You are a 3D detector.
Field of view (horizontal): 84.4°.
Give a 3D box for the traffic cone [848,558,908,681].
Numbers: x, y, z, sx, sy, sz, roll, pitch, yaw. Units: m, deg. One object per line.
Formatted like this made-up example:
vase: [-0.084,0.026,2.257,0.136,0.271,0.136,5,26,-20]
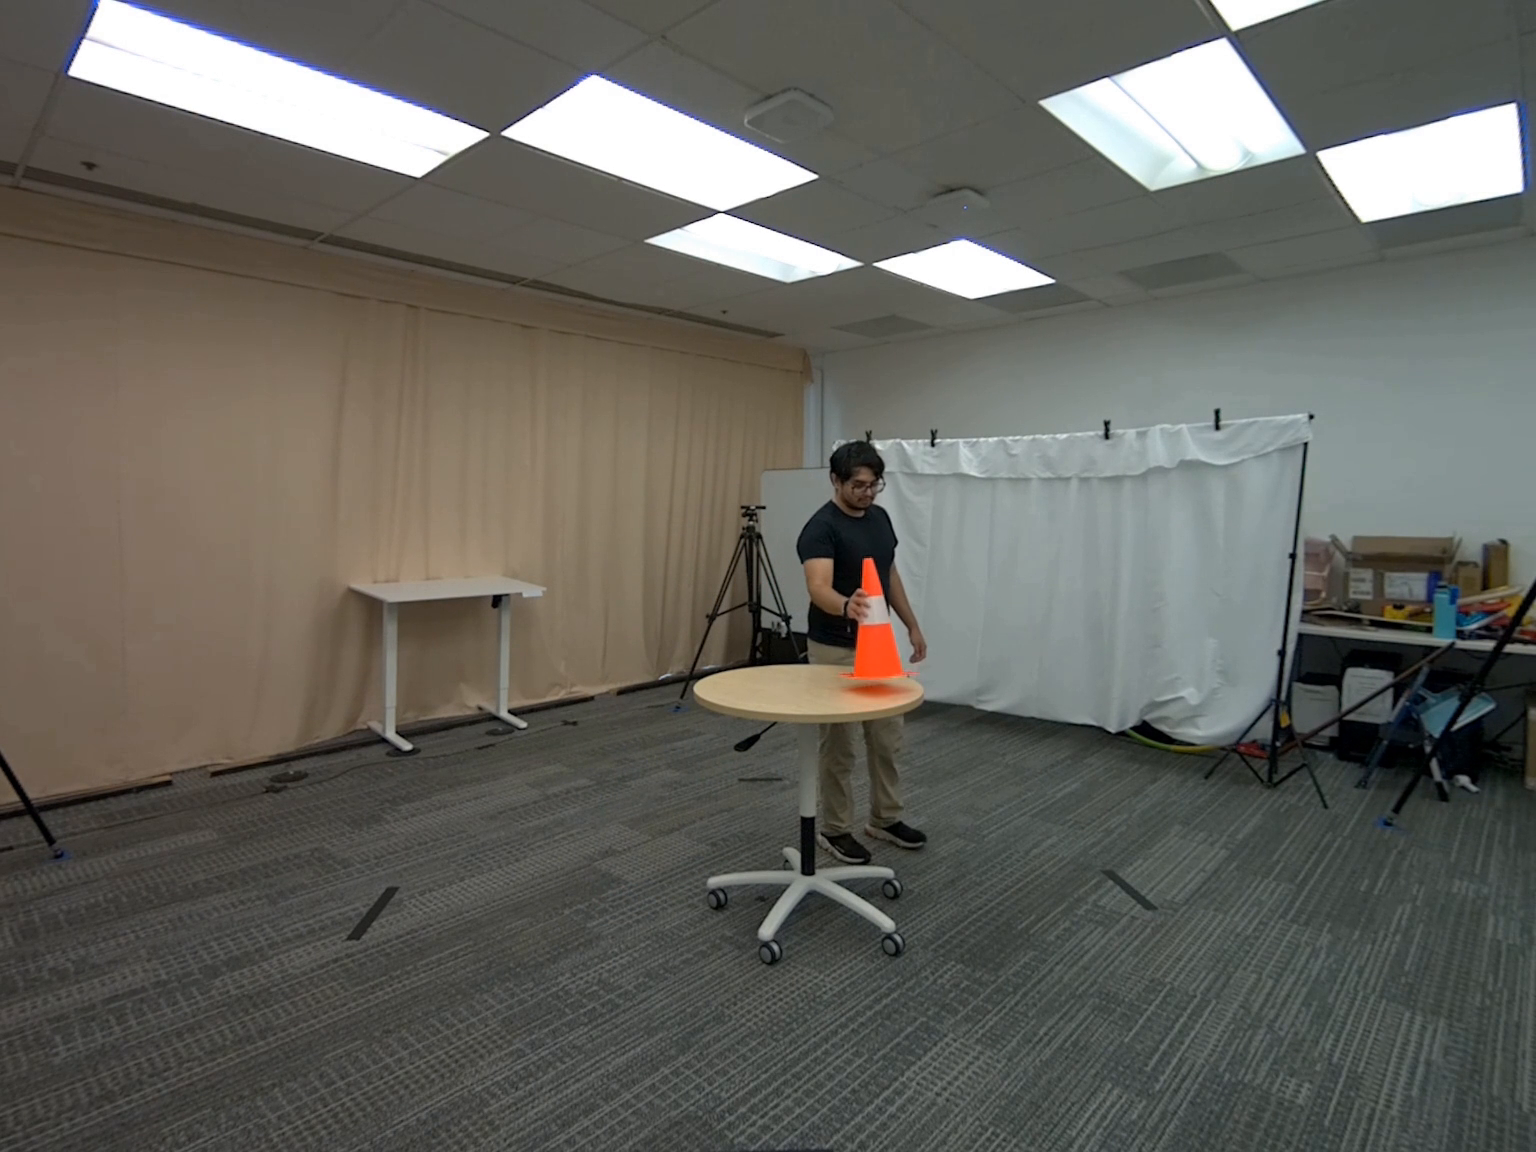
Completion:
traffic cone: [0.347,0.140,2.767,0.211,0.384,0.197,-5,-3,43]
